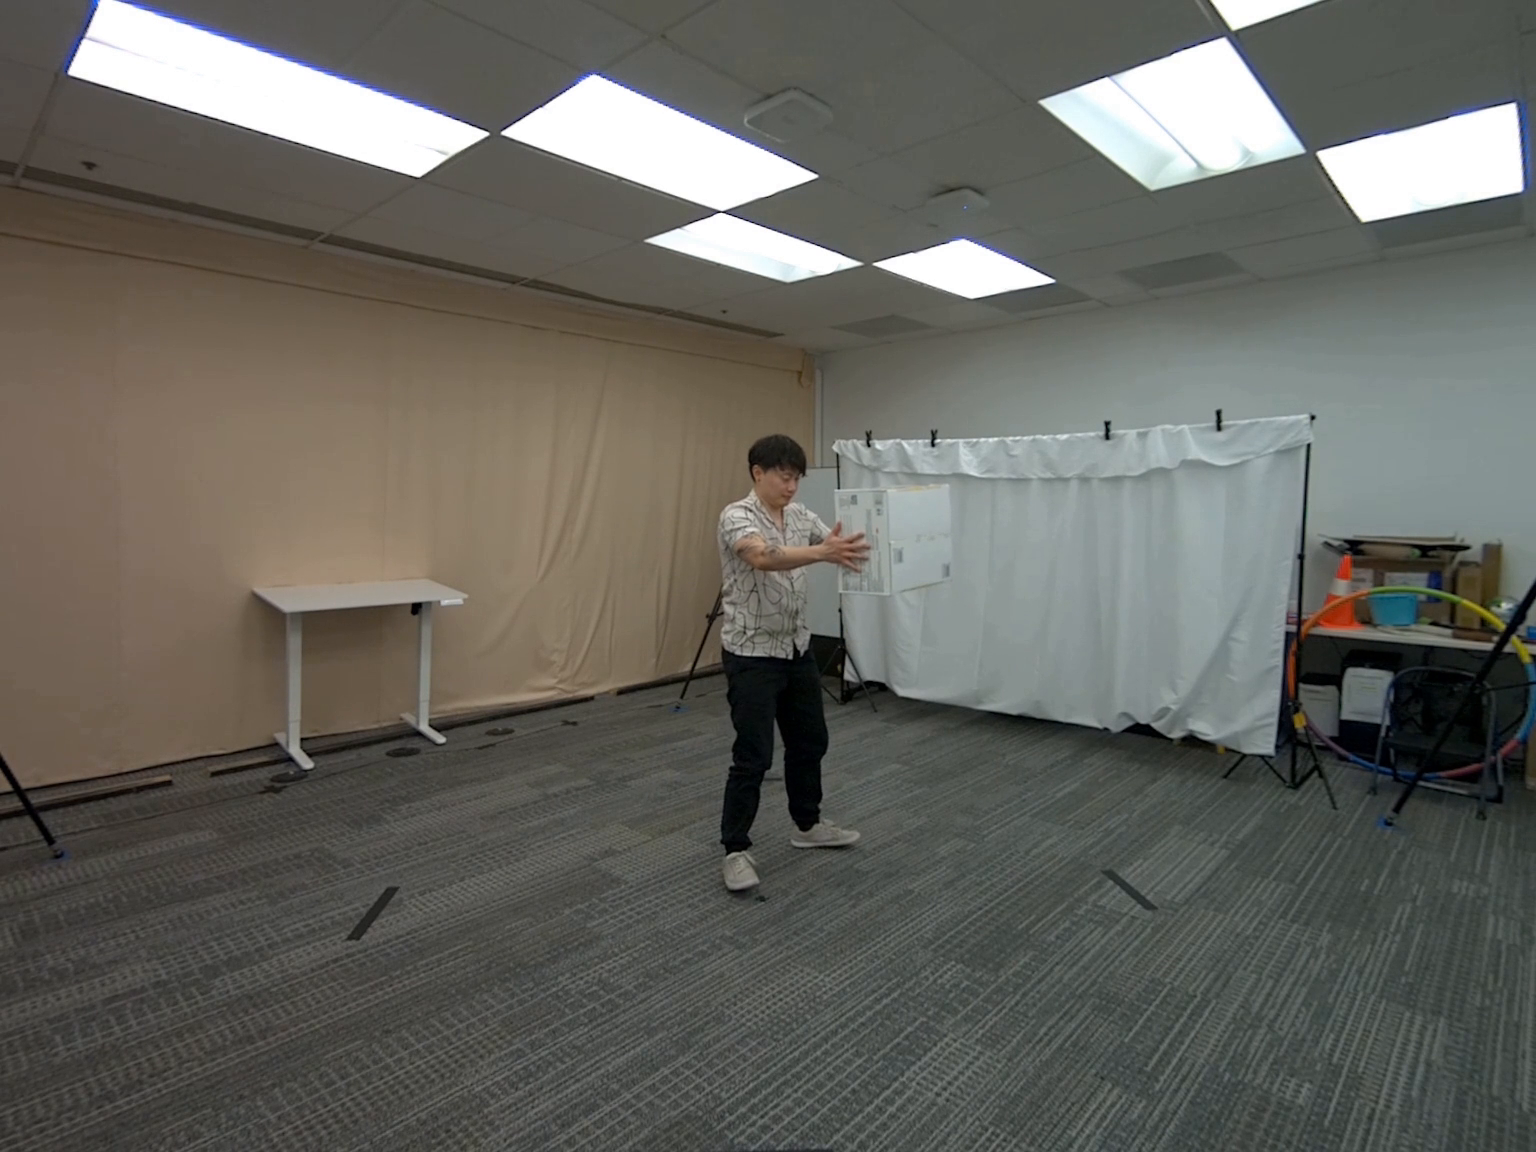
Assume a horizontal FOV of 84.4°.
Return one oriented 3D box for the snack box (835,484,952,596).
[{"bbox_3d":[0.435,-0.127,2.839,0.212,0.339,0.393,2,8,41],"label":"snack box"}]
